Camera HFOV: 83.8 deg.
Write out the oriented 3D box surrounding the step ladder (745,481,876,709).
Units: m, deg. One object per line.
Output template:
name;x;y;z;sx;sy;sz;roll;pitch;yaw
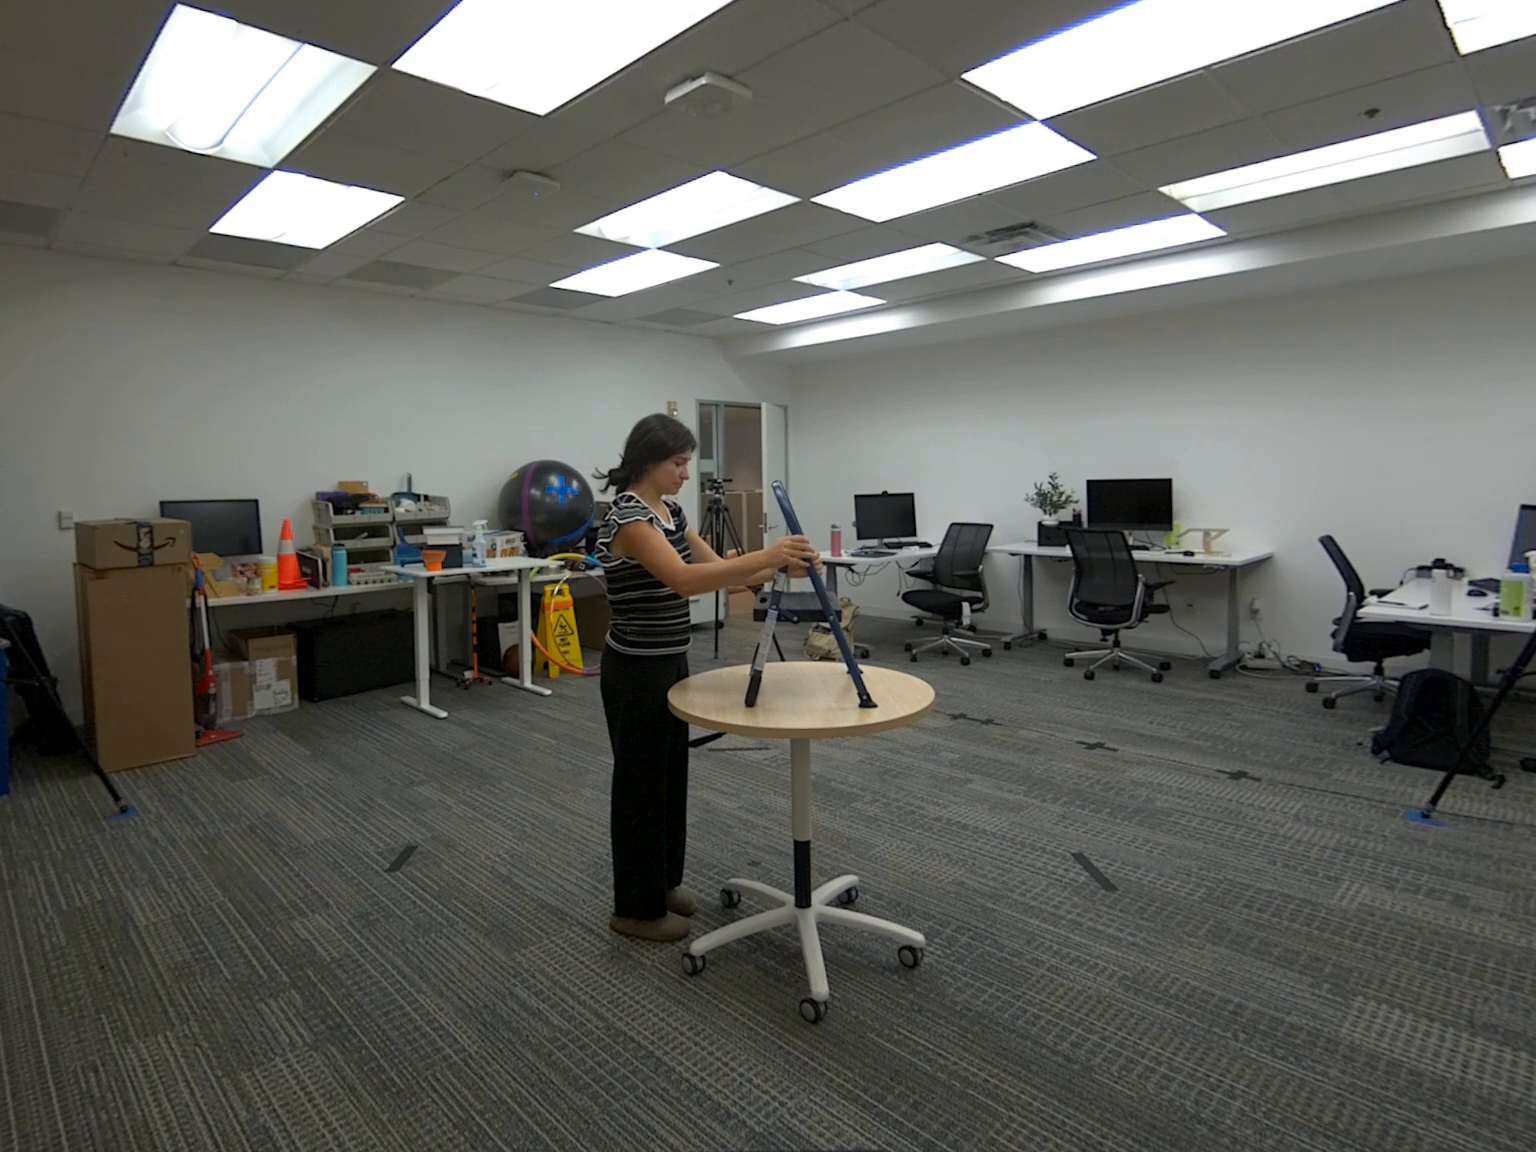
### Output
step ladder;0.113;0.034;2.461;0.350;0.605;0.430;-2;2;2
